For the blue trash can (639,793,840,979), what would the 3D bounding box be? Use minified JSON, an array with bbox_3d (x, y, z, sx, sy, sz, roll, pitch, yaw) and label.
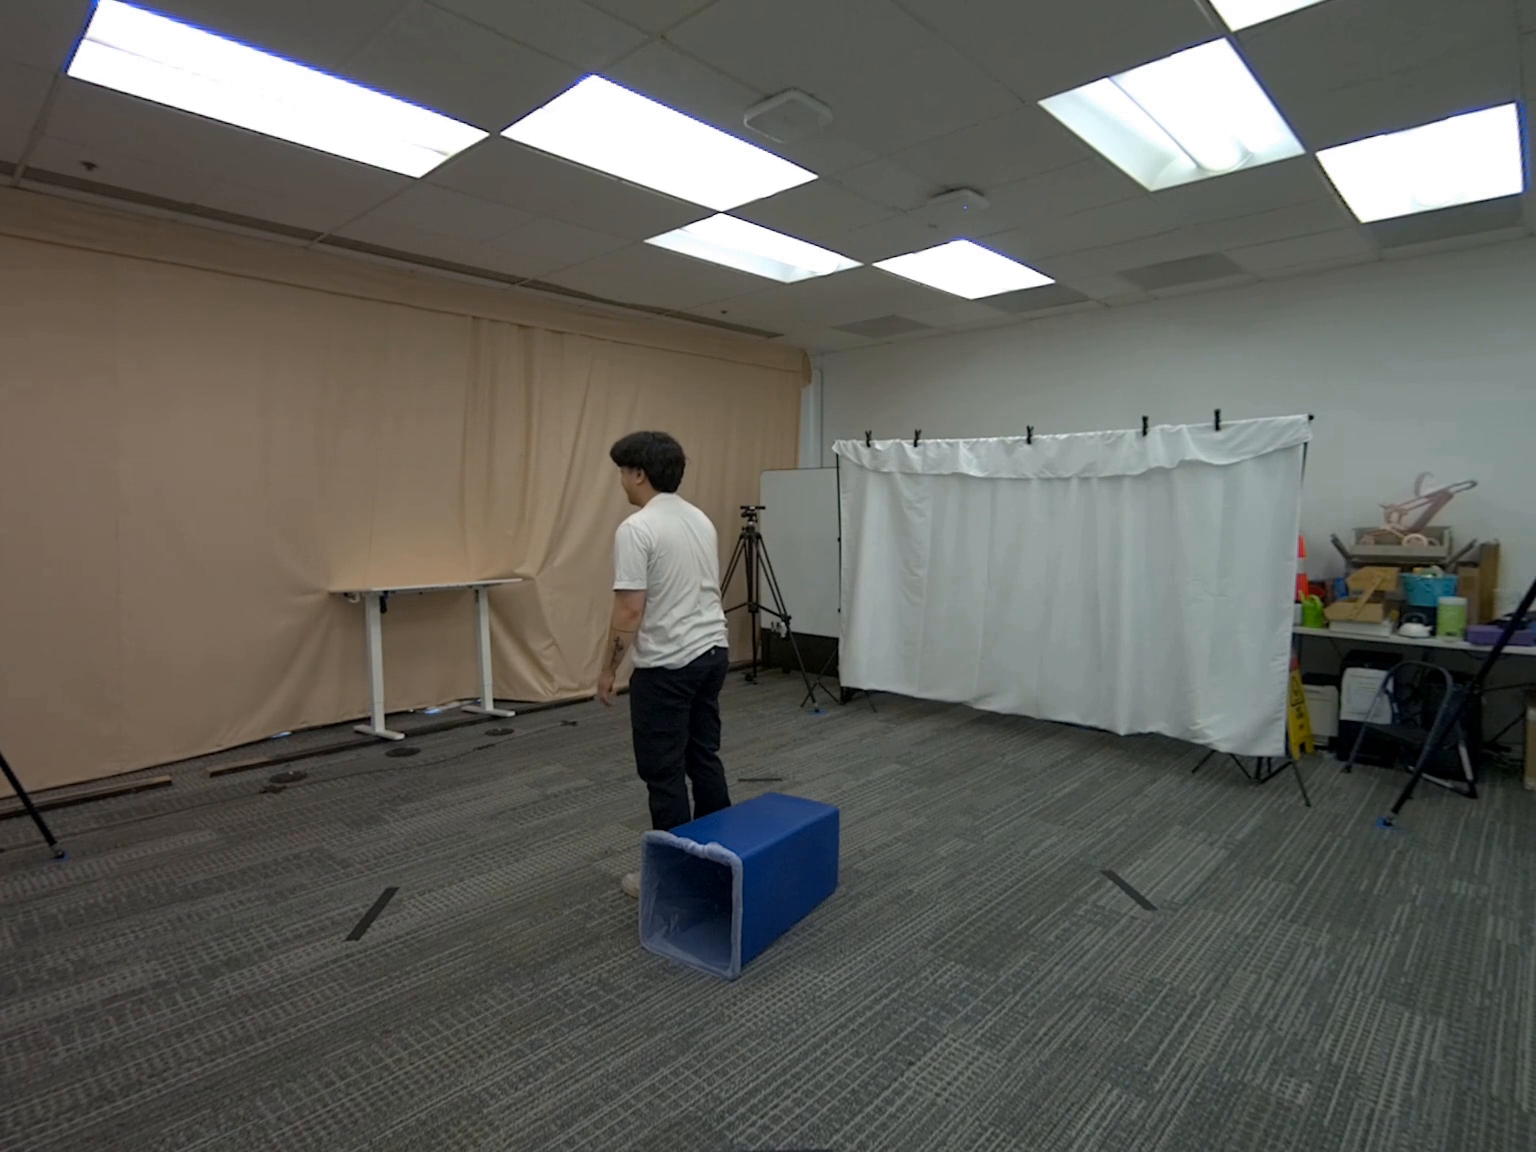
[{"bbox_3d":[-0.050,0.994,2.837,0.389,0.374,0.692,1,1,34],"label":"blue trash can"}]
